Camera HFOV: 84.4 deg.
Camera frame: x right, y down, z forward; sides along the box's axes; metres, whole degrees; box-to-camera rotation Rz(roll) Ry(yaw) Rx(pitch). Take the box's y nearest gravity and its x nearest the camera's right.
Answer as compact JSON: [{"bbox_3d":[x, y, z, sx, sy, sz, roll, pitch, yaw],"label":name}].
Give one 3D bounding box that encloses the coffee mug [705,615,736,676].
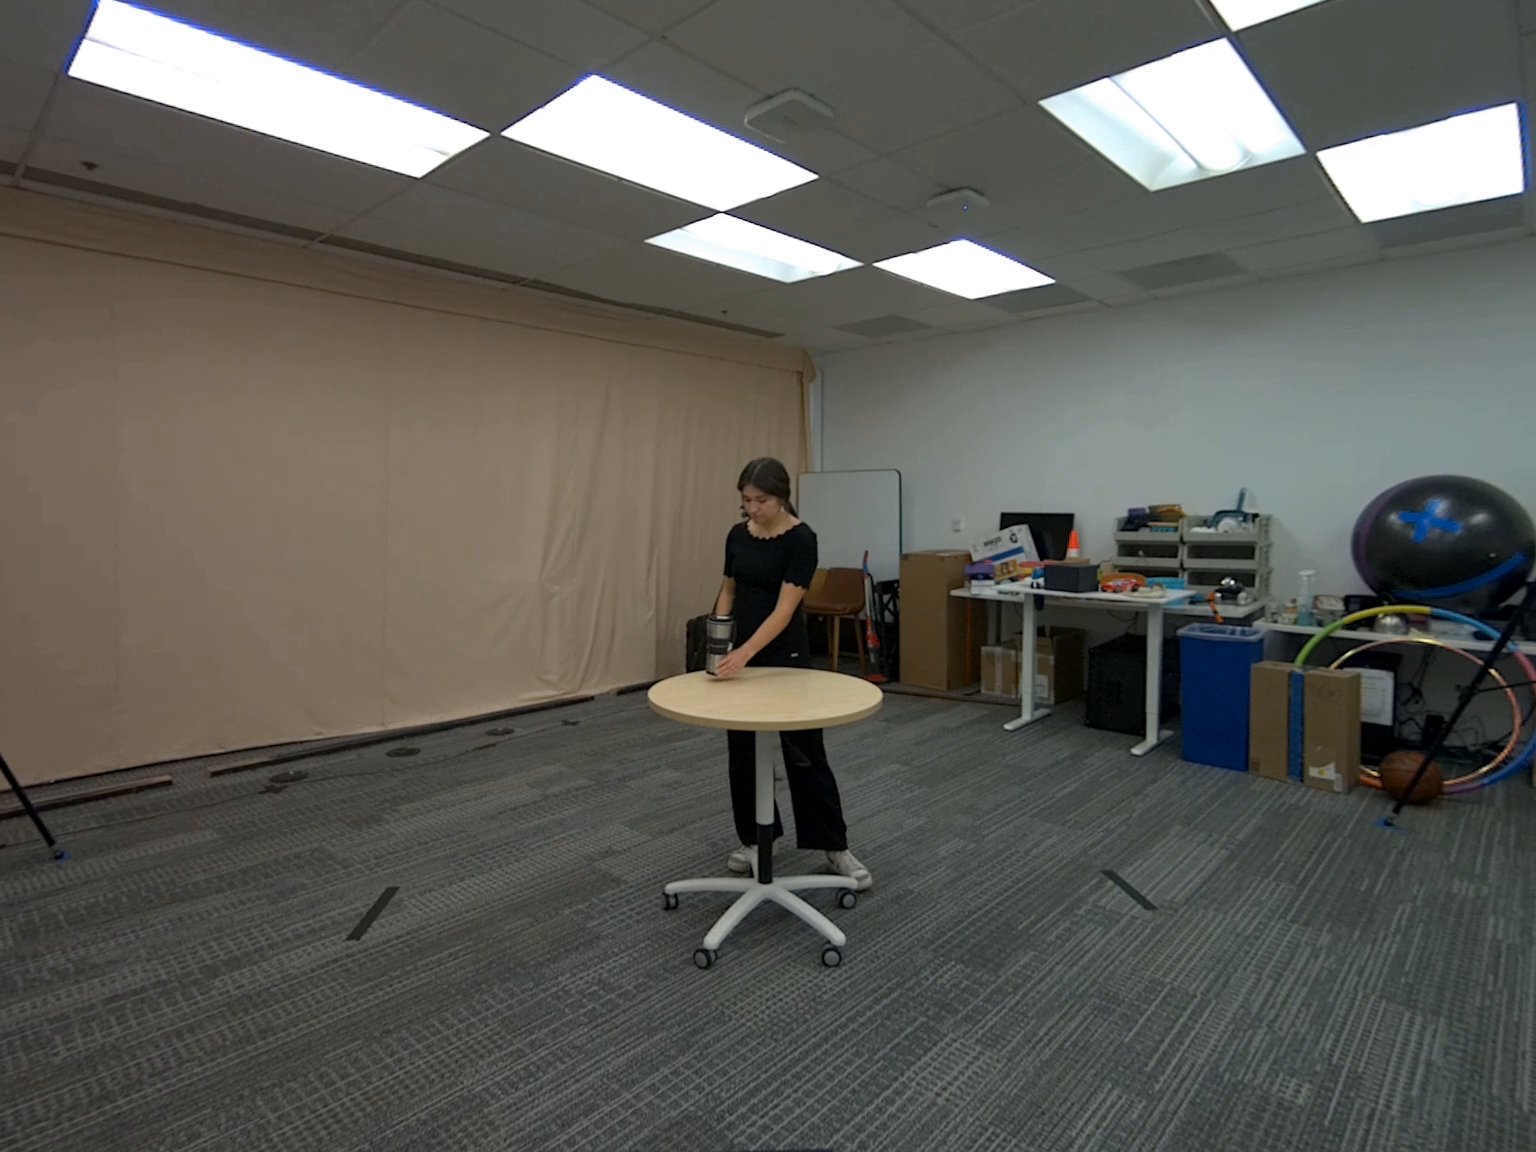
[{"bbox_3d":[-0.144,0.240,2.930,0.119,0.202,0.090,-4,6,-25],"label":"coffee mug"}]
